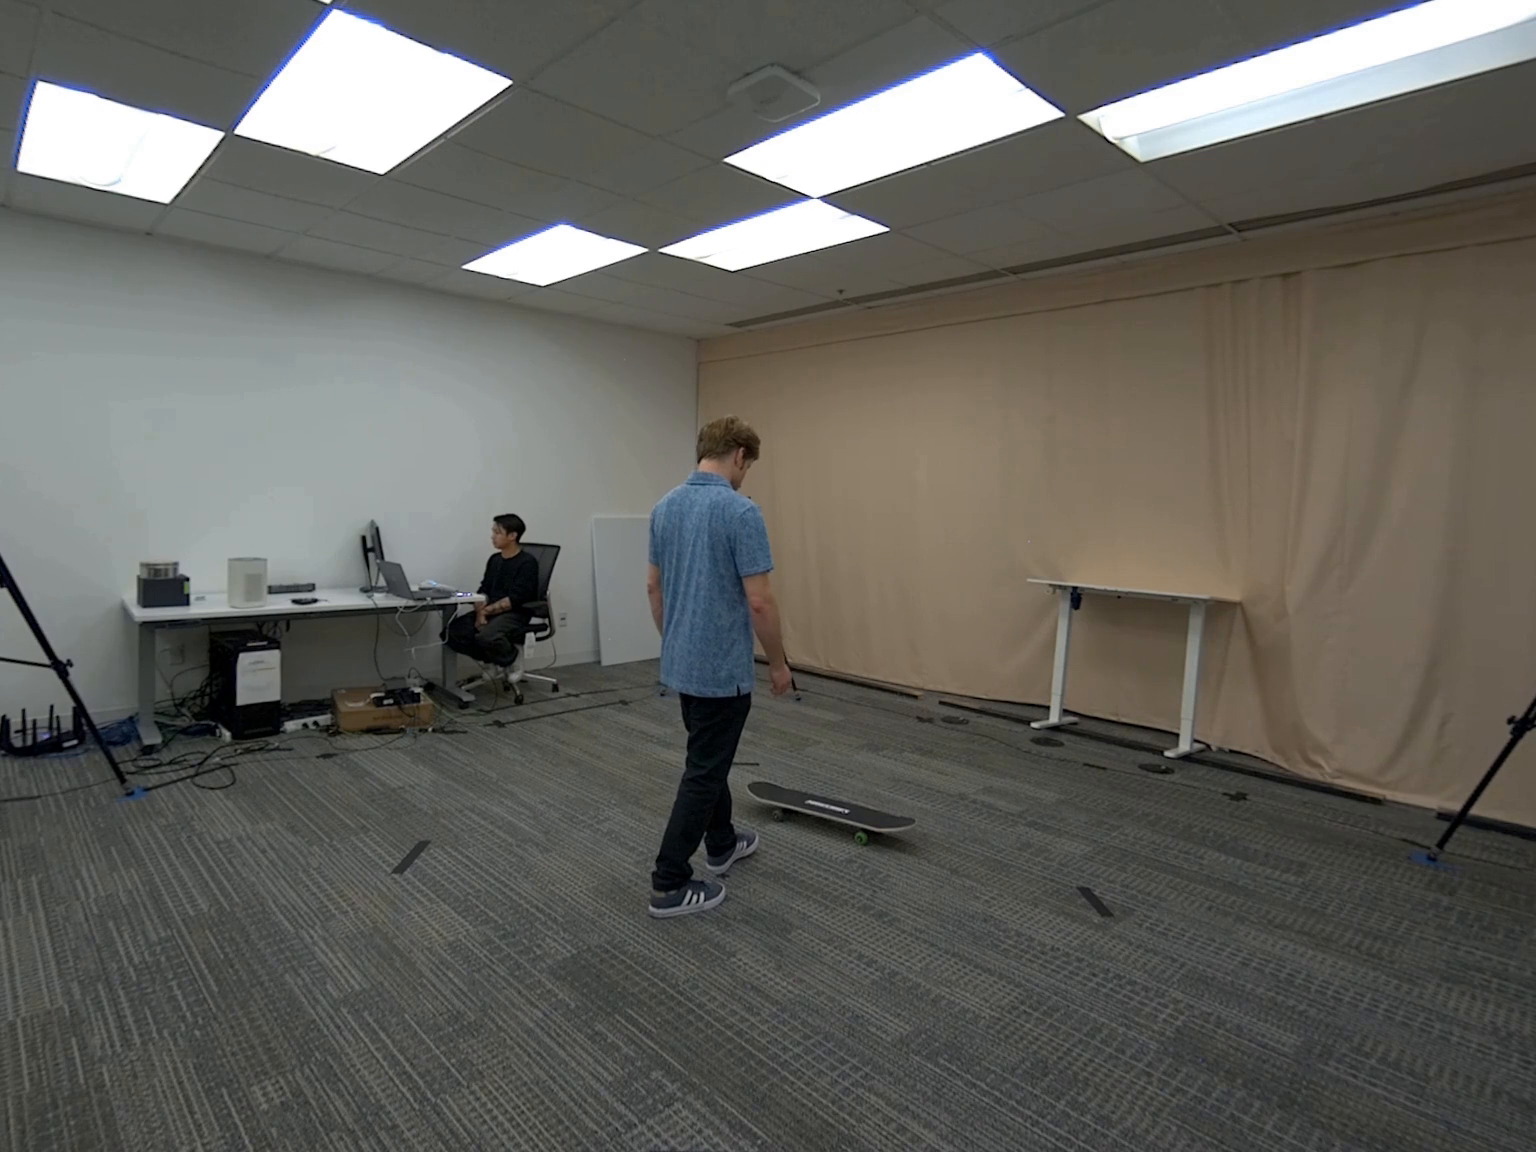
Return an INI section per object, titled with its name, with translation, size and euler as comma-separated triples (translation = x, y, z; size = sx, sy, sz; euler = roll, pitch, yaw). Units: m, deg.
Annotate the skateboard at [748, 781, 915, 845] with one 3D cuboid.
[skateboard]
translation = 0.244, 1.018, 3.602
size = 0.804, 0.110, 0.189
euler = 5, 5, 34
